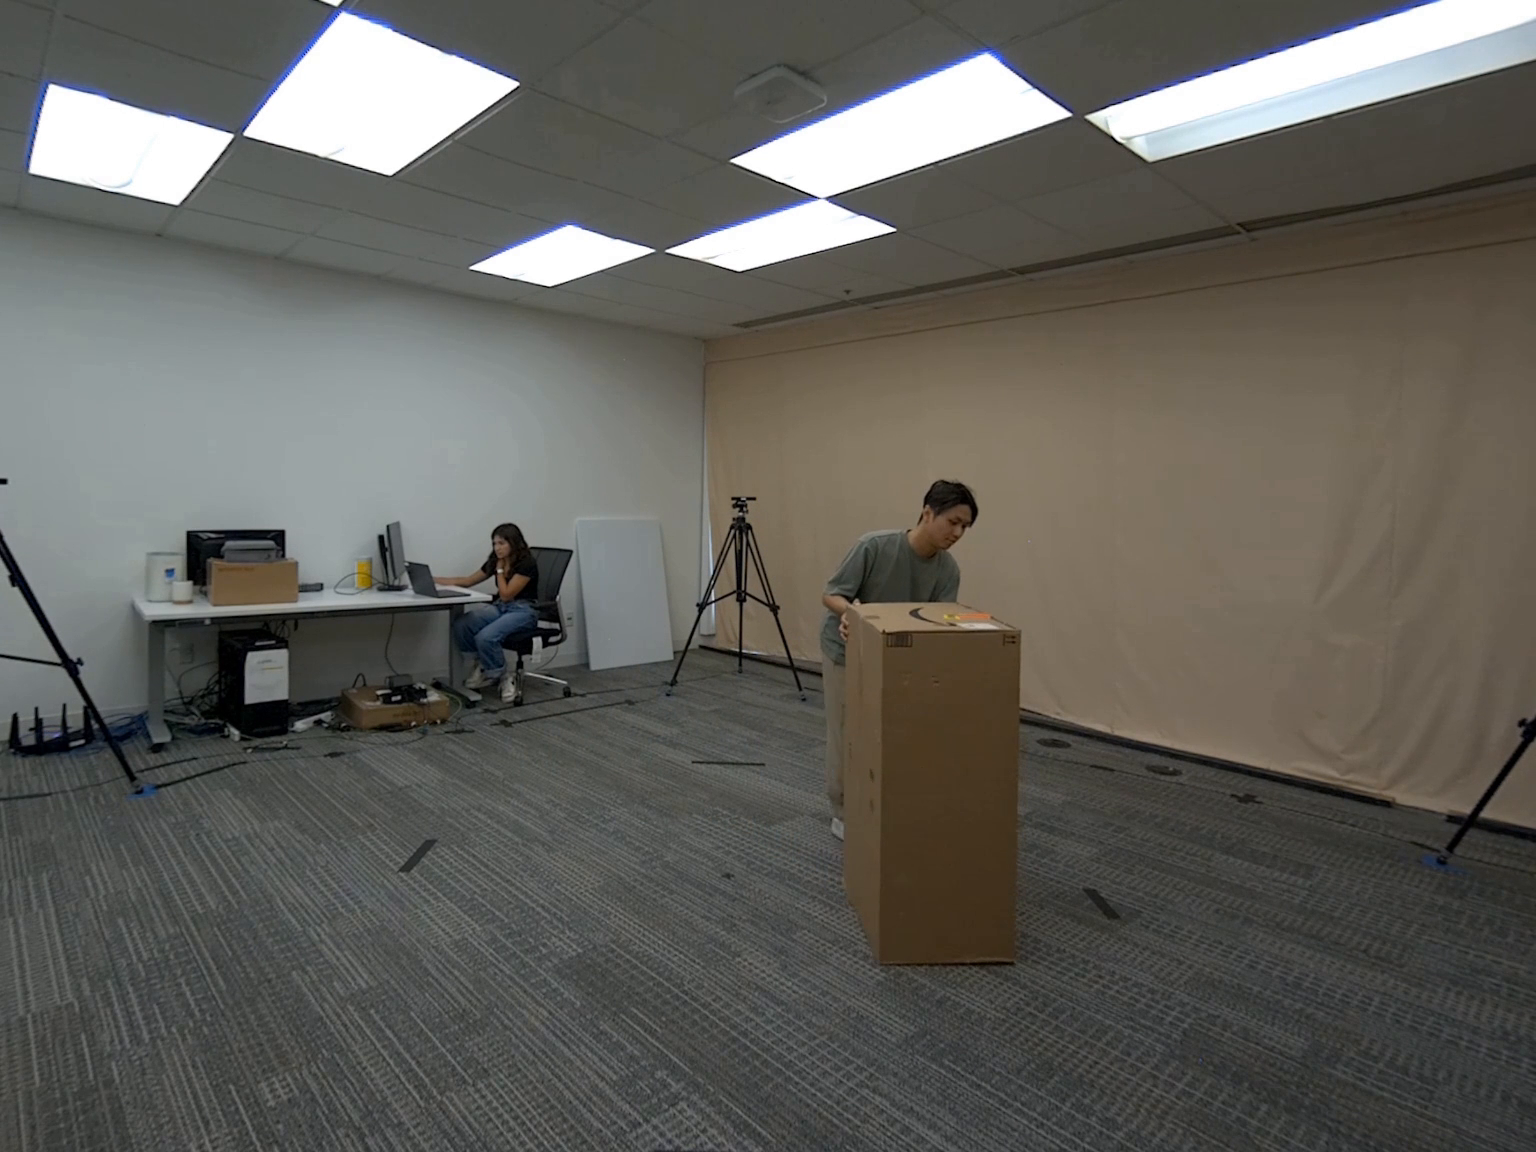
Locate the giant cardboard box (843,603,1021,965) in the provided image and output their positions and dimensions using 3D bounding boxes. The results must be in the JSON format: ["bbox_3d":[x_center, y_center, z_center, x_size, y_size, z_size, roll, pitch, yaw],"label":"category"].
[{"bbox_3d":[0.512,0.642,2.792,0.424,1.023,0.581,0,4,-6],"label":"giant cardboard box"}]
